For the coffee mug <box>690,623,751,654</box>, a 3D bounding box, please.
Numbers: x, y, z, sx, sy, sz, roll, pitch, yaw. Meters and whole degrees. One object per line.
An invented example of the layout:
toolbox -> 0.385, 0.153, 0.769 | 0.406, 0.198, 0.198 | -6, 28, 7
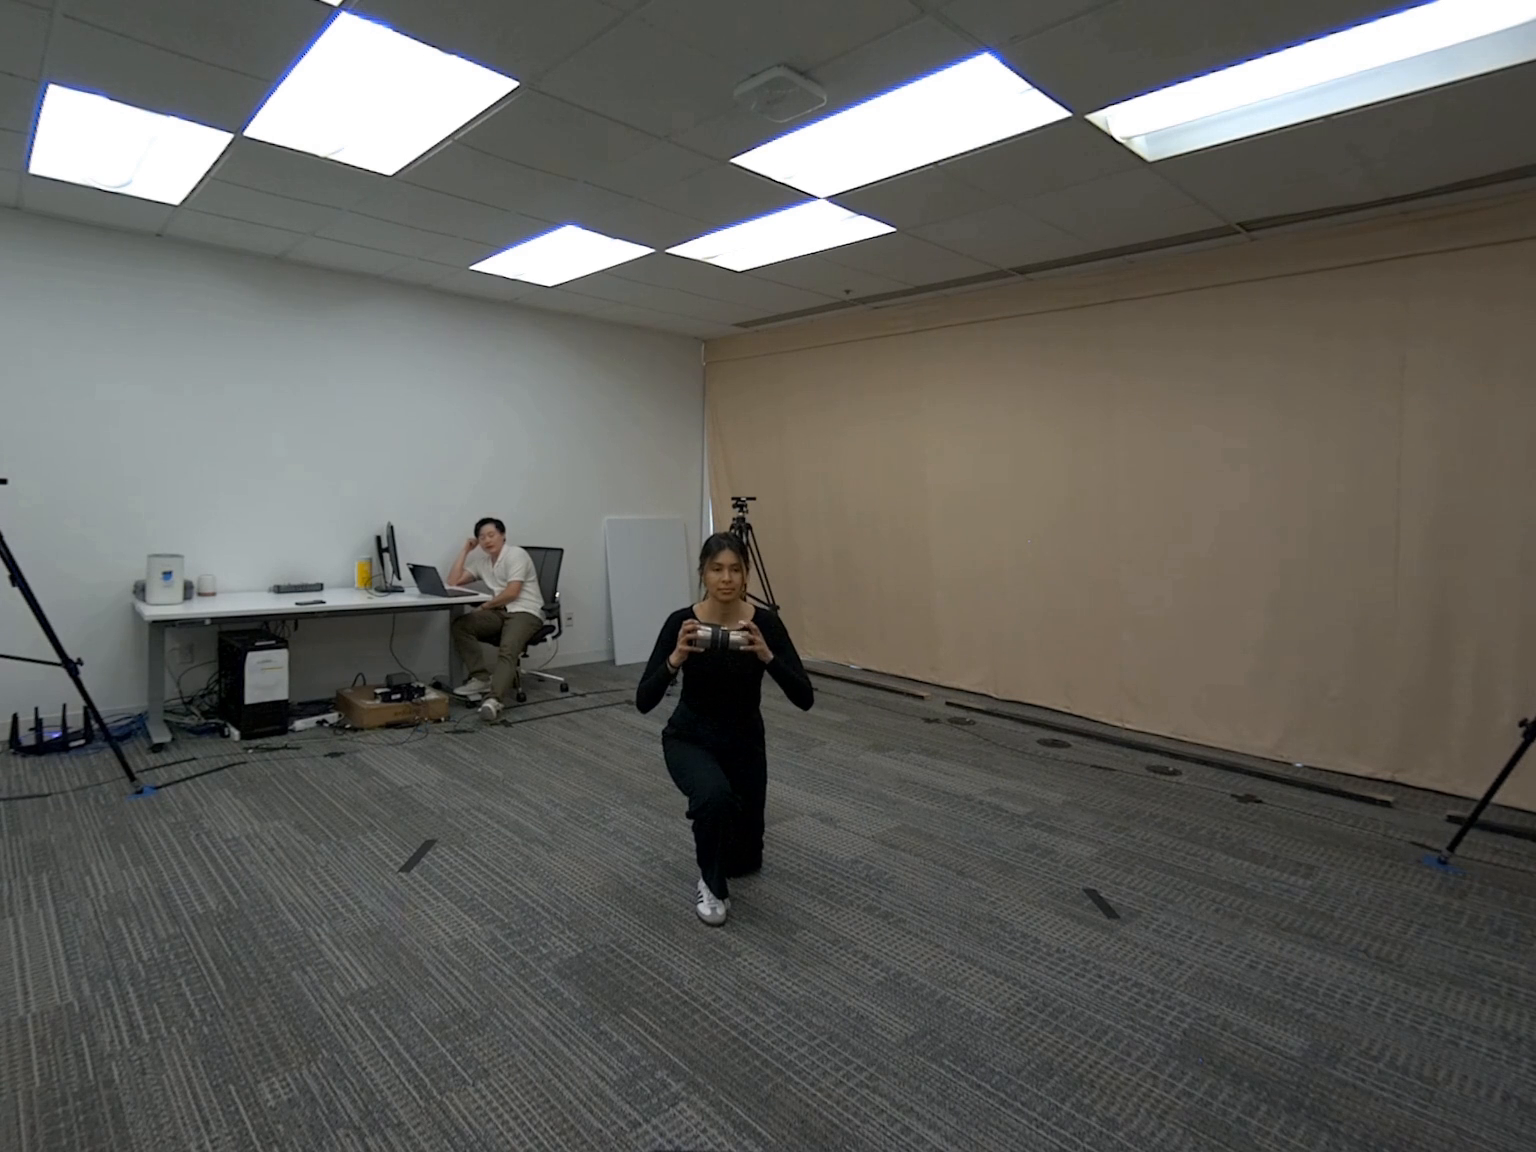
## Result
coffee mug -> -0.161, 0.174, 2.730 | 0.202, 0.086, 0.125 | 1, 42, -5
